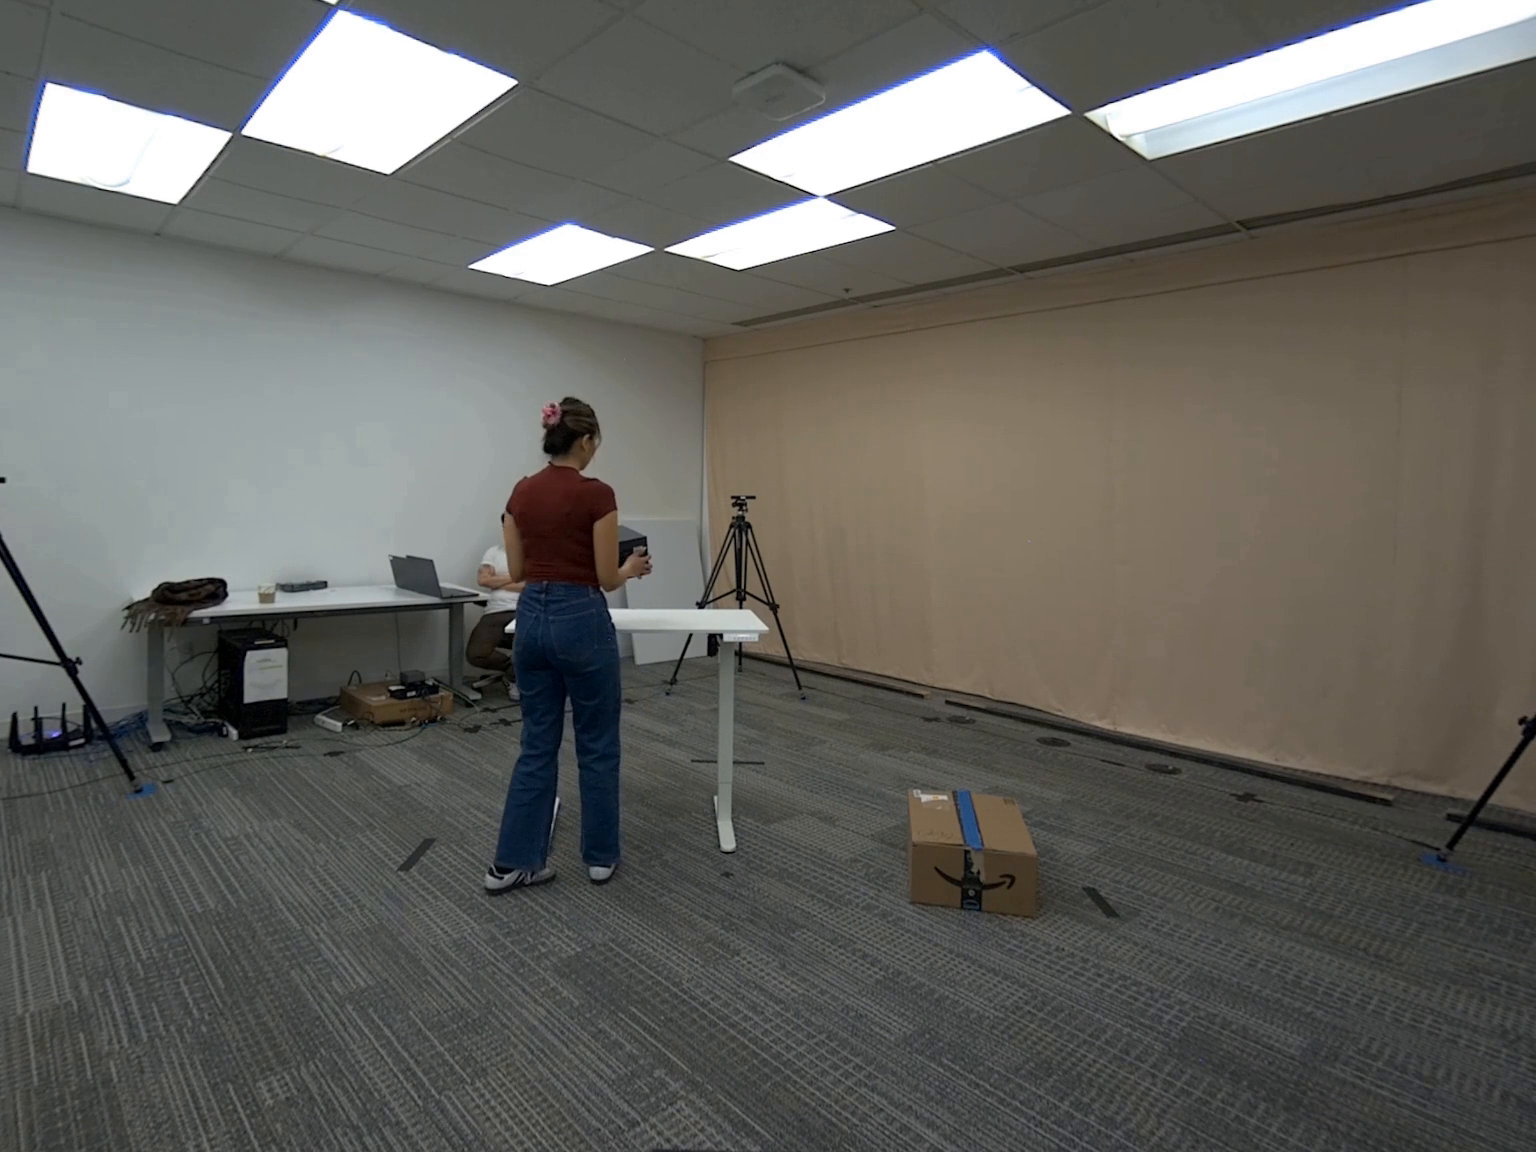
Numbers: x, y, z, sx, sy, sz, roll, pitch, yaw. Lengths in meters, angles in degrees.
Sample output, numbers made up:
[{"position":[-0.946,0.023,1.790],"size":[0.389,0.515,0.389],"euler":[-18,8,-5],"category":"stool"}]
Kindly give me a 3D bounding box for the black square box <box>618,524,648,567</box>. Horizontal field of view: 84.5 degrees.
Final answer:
[{"position":[-0.628,-0.082,3.289],"size":[0.213,0.154,0.234],"euler":[-12,19,-31],"category":"black square box"}]
